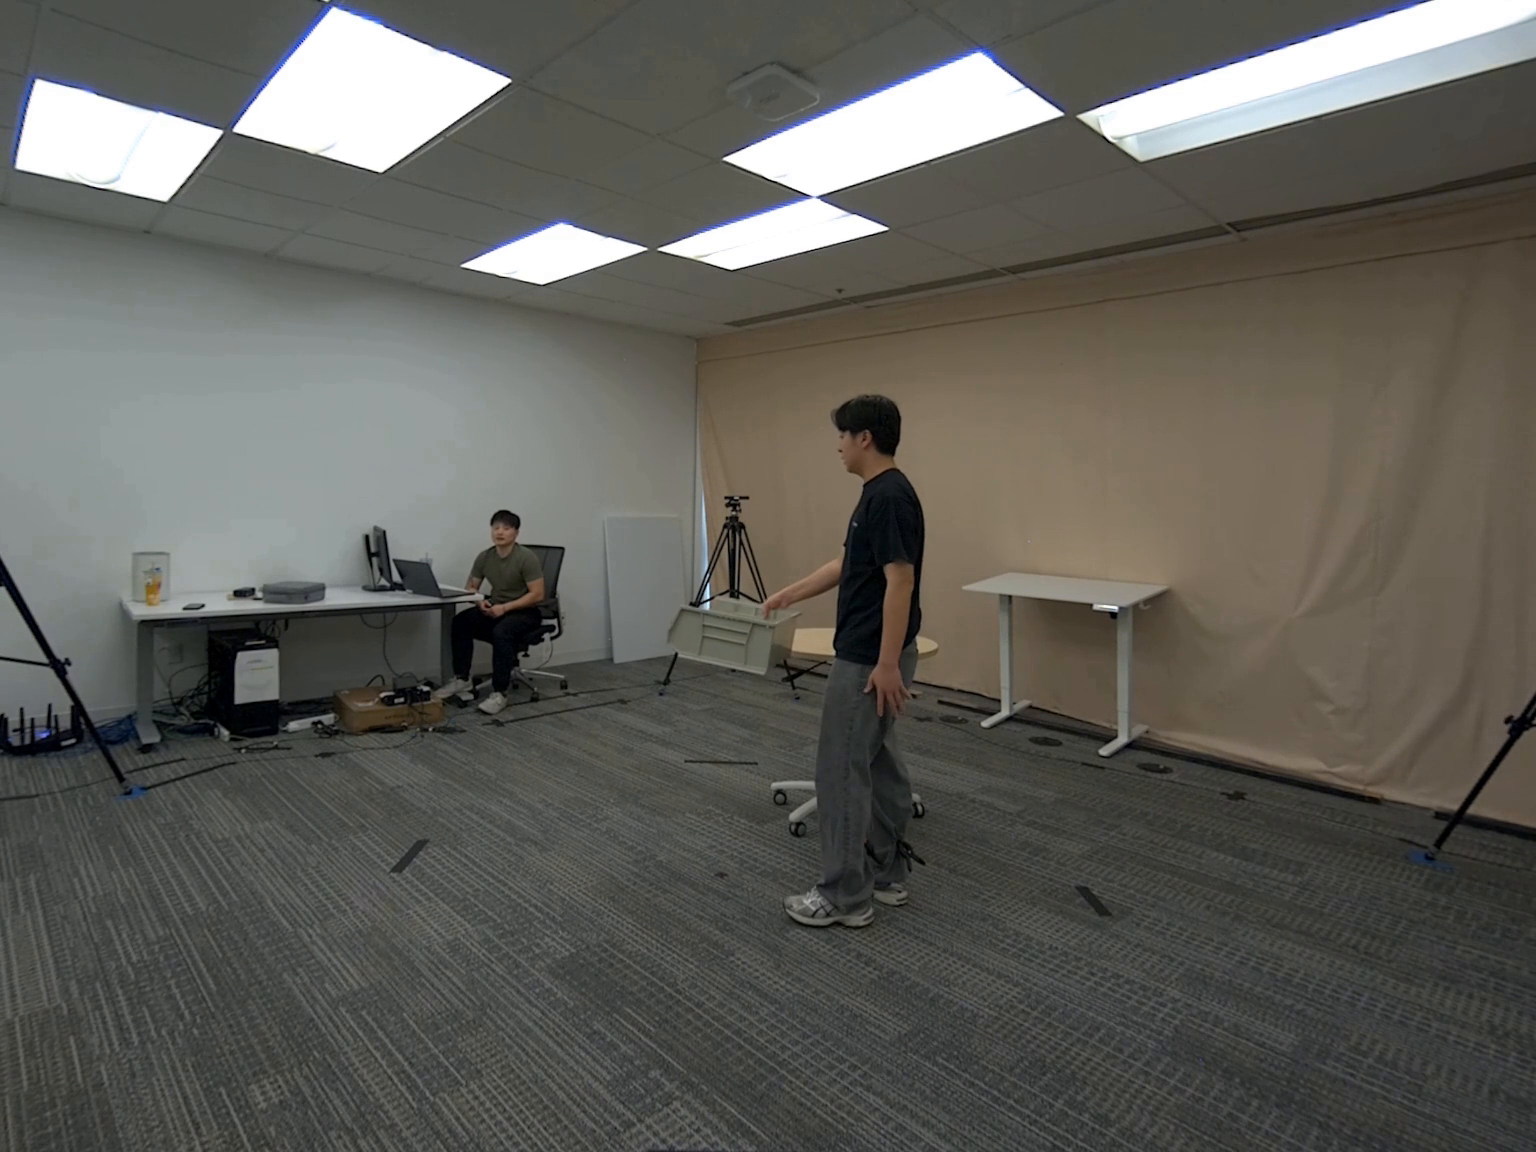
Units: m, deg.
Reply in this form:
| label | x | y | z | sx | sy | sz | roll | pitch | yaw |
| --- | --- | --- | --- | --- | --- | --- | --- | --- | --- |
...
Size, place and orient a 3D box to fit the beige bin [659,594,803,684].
| label | x | y | z | sx | sy | sz | roll | pitch | yaw |
| --- | --- | --- | --- | --- | --- | --- | --- | --- | --- |
| beige bin | -0.122 | 0.211 | 3.033 | 0.383 | 0.188 | 0.417 | 11 | 6 | 16 |
